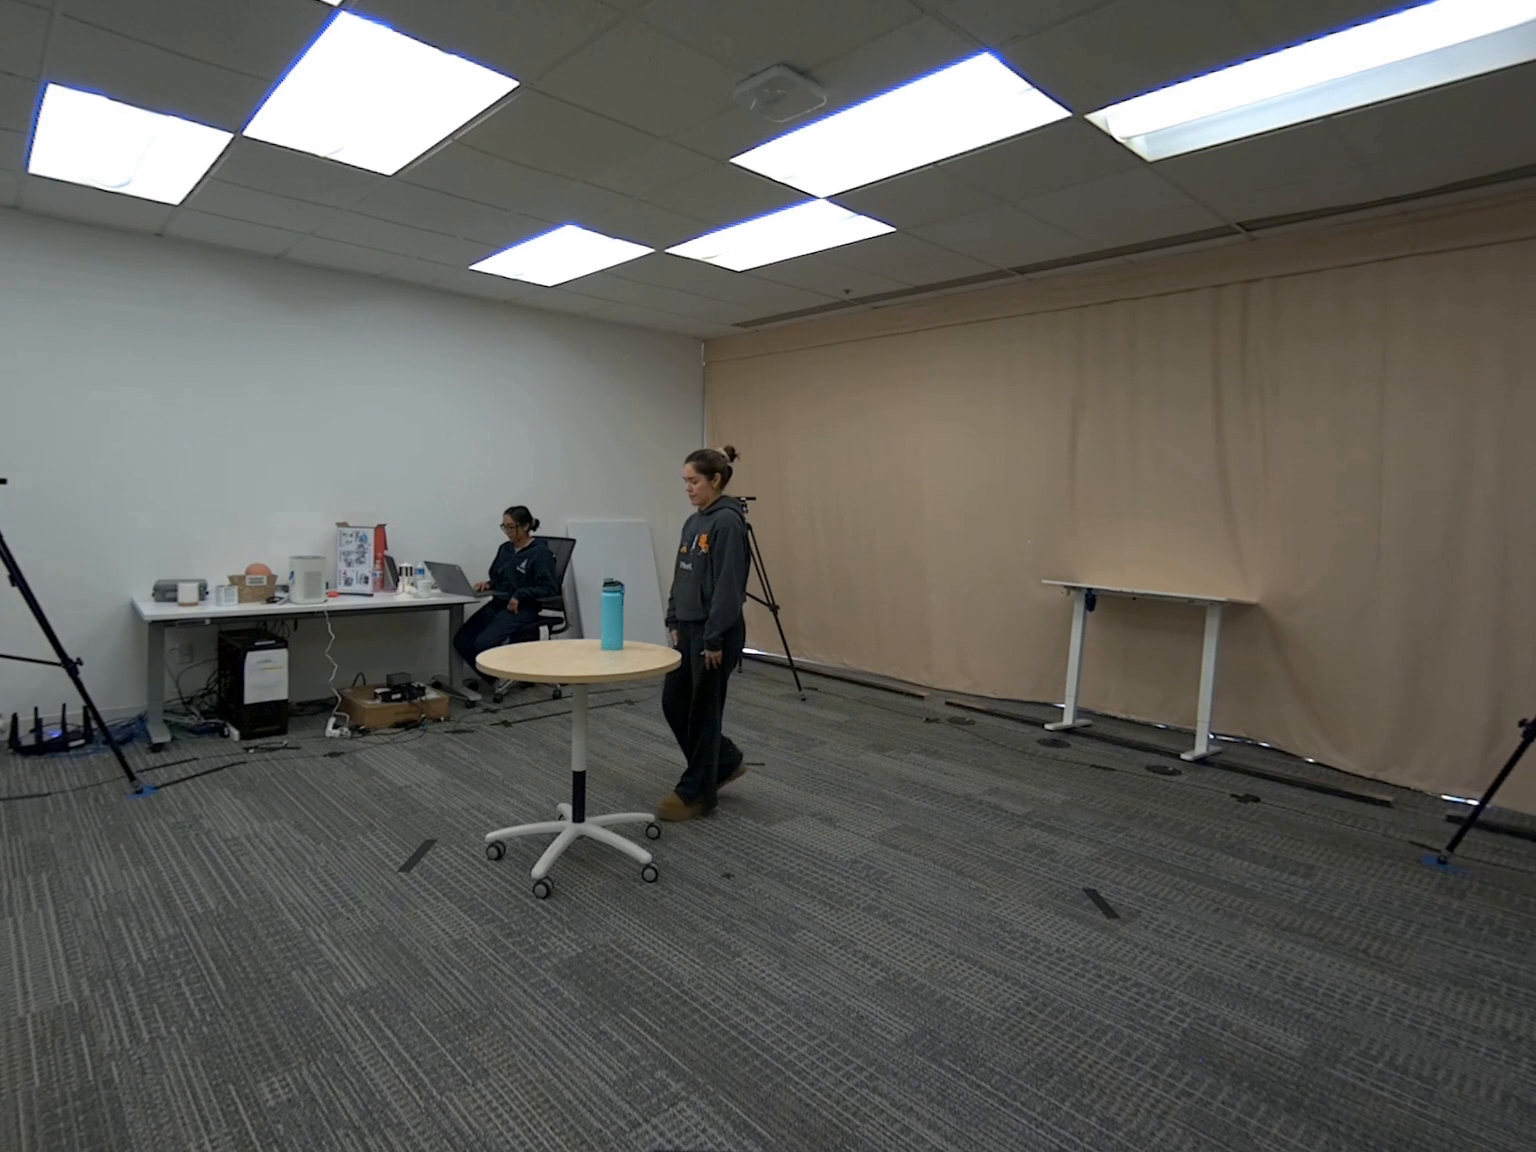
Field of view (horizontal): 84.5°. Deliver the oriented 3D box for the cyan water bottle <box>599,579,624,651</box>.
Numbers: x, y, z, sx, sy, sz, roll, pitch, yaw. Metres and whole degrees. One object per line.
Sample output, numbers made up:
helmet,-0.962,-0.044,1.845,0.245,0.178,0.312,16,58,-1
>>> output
cyan water bottle,-0.629,0.151,3.361,0.092,0.283,0.092,3,3,-2
